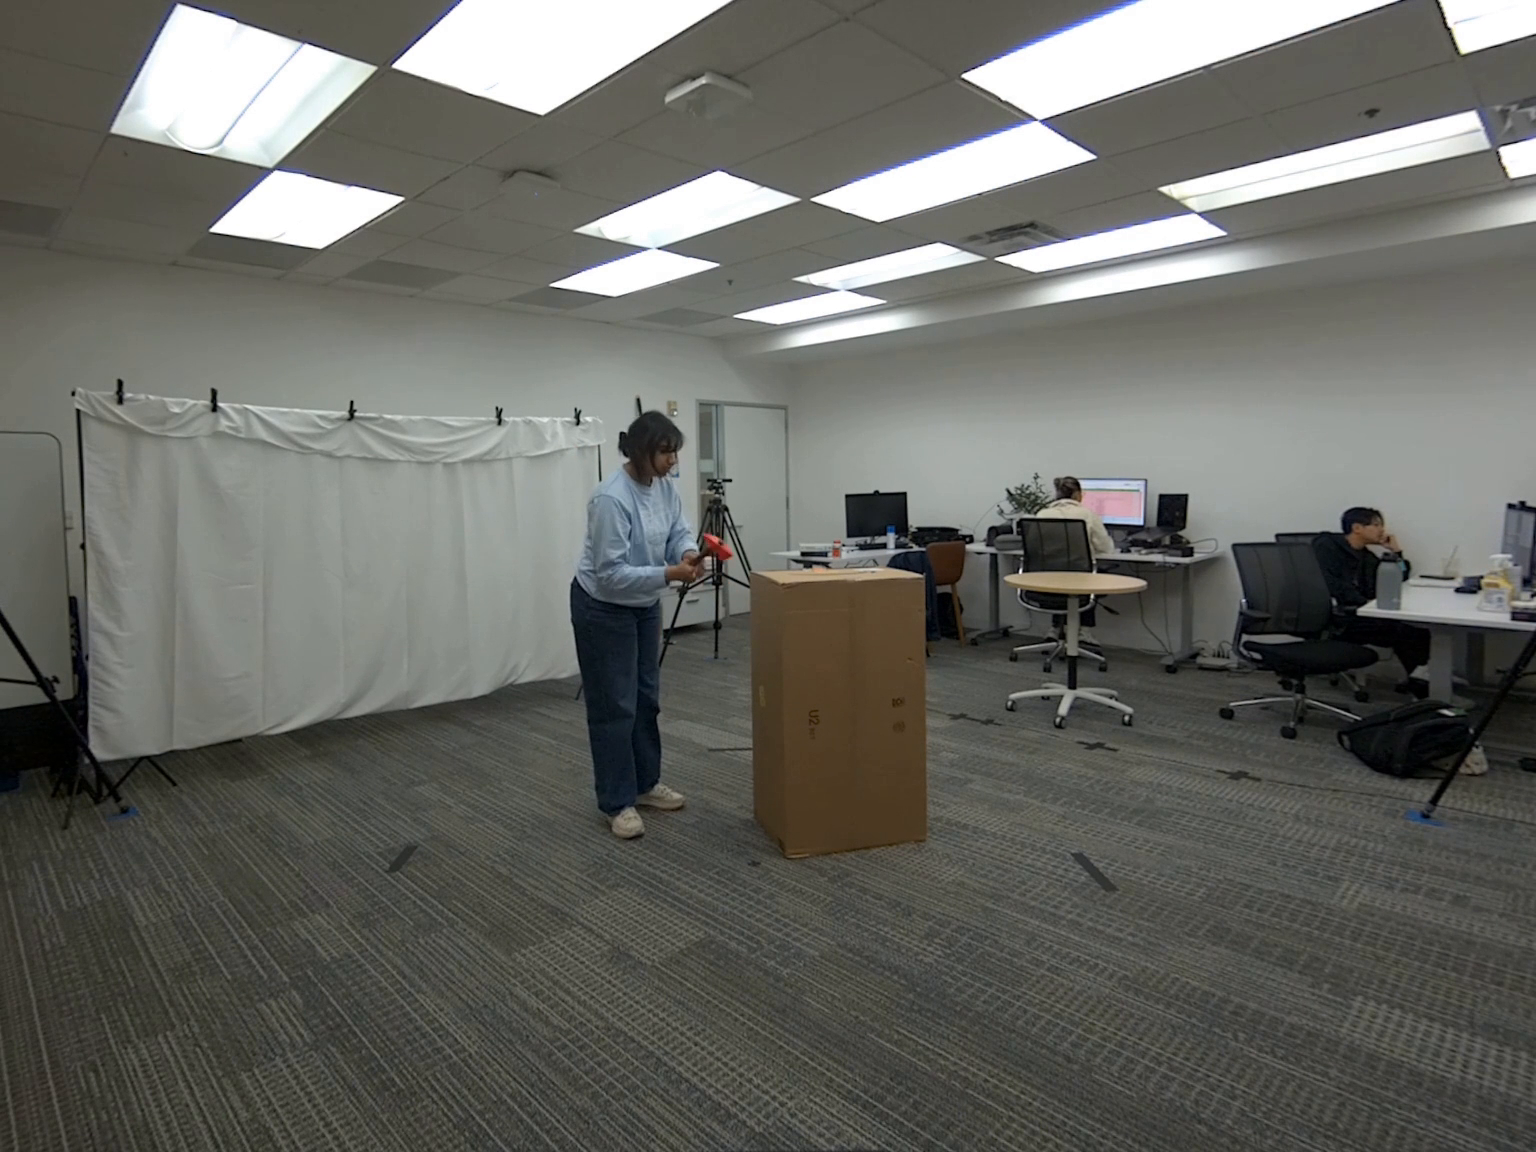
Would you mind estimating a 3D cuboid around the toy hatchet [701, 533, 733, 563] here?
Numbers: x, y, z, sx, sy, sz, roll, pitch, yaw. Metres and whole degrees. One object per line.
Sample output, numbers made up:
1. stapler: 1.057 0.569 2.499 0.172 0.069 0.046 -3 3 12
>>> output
1. toy hatchet: -0.210 -0.047 3.092 0.131 0.267 0.030 24 47 -2
